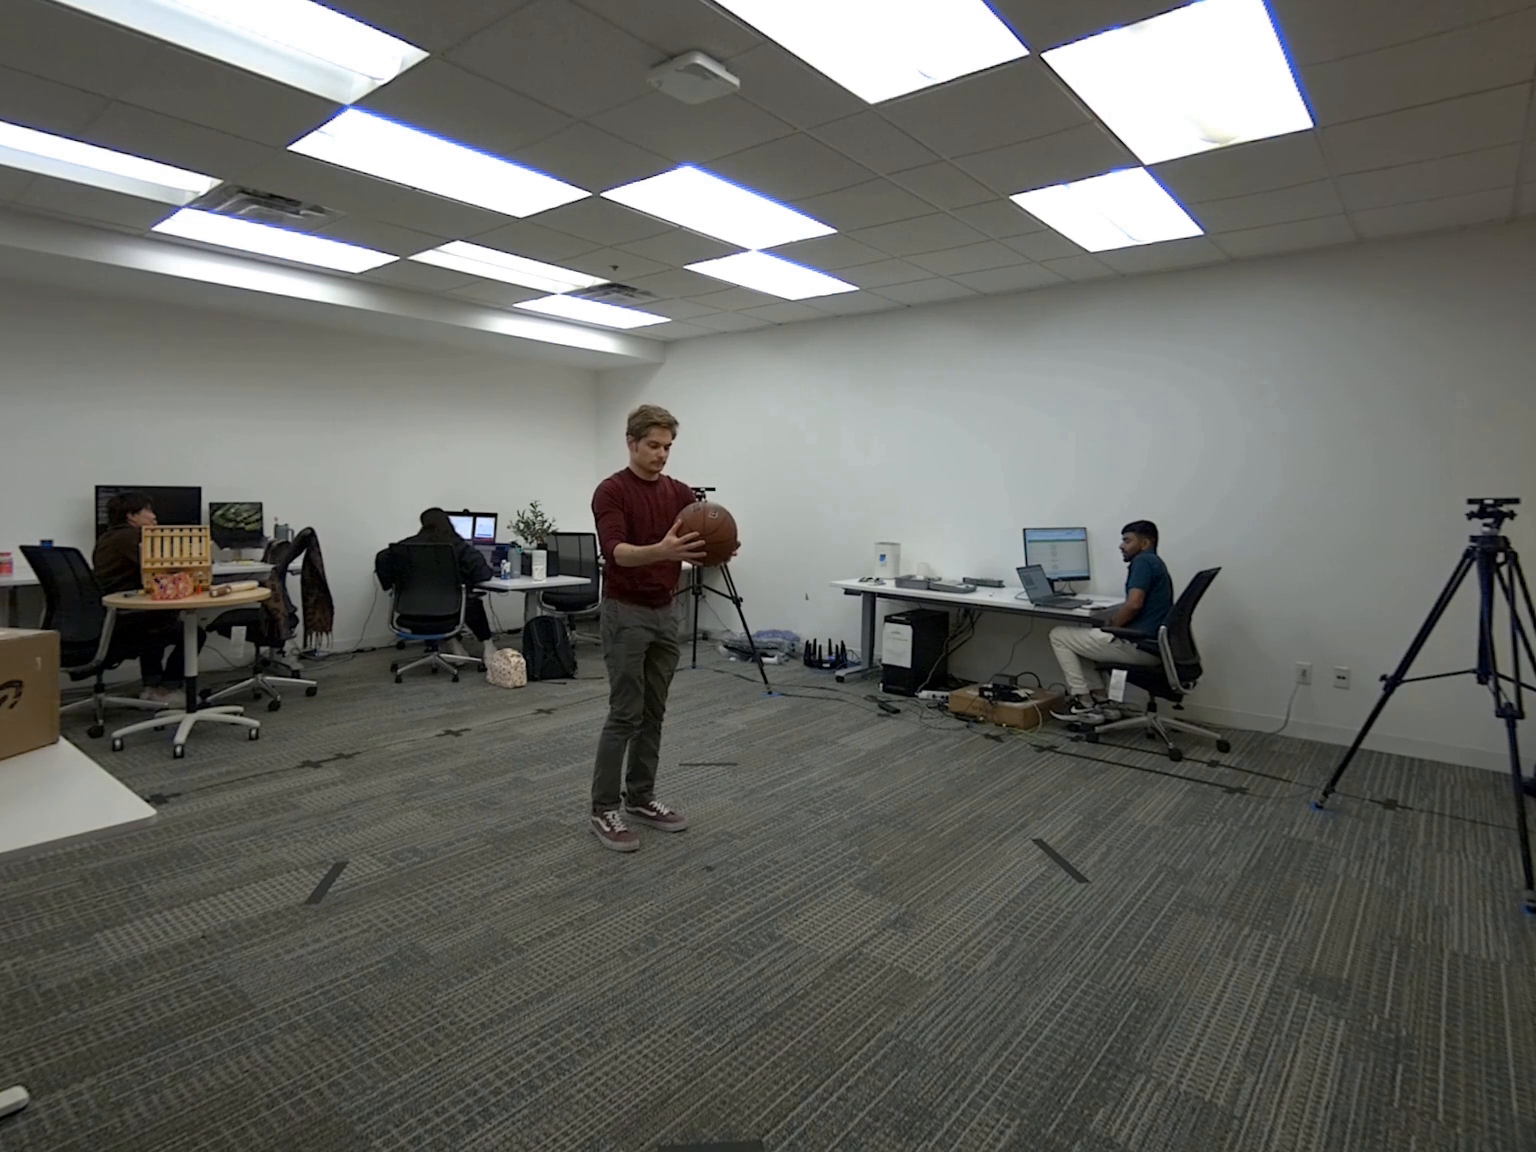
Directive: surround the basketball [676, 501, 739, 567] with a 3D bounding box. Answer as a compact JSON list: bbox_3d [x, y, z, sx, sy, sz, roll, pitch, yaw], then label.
[{"bbox_3d":[-0.235,-0.159,3.080,0.235,0.235,0.237,1,4,-2],"label":"basketball"}]
